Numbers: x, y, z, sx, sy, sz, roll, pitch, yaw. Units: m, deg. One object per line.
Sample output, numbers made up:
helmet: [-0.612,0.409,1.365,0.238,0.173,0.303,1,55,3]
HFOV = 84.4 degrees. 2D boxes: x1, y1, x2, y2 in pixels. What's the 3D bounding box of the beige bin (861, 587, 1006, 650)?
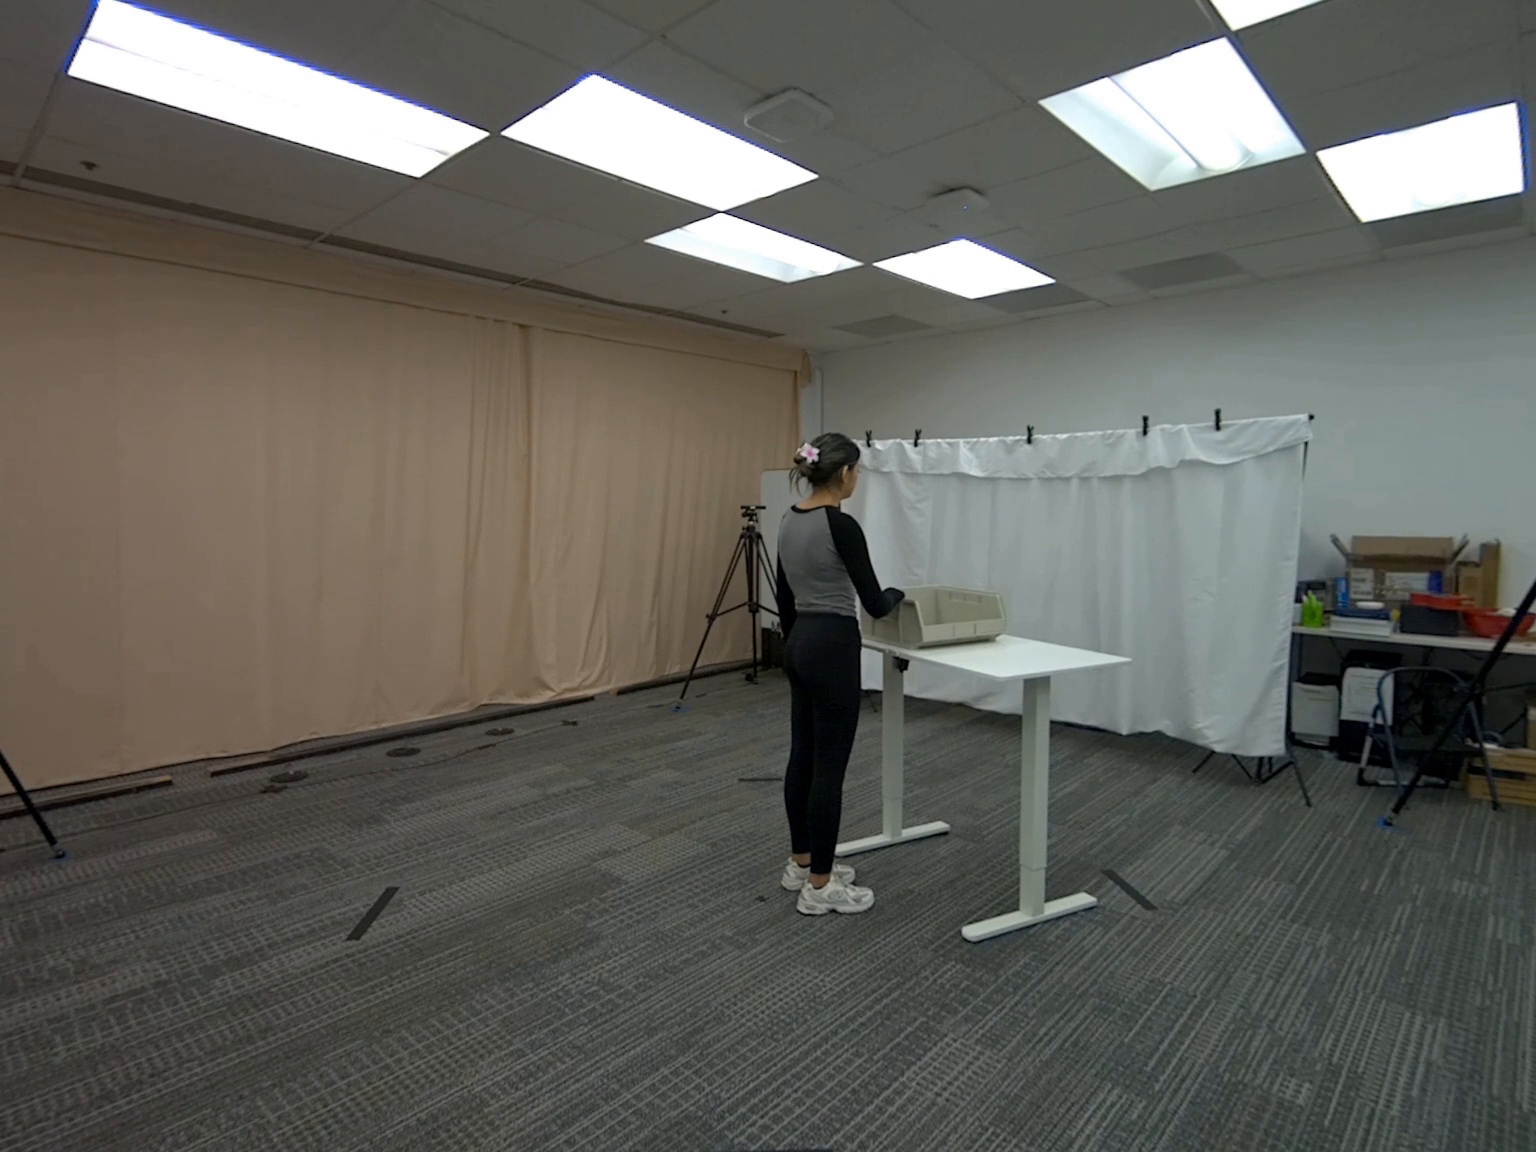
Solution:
beige bin: [0.618,0.157,3.176,0.411,0.188,0.388,-3,5,-30]
